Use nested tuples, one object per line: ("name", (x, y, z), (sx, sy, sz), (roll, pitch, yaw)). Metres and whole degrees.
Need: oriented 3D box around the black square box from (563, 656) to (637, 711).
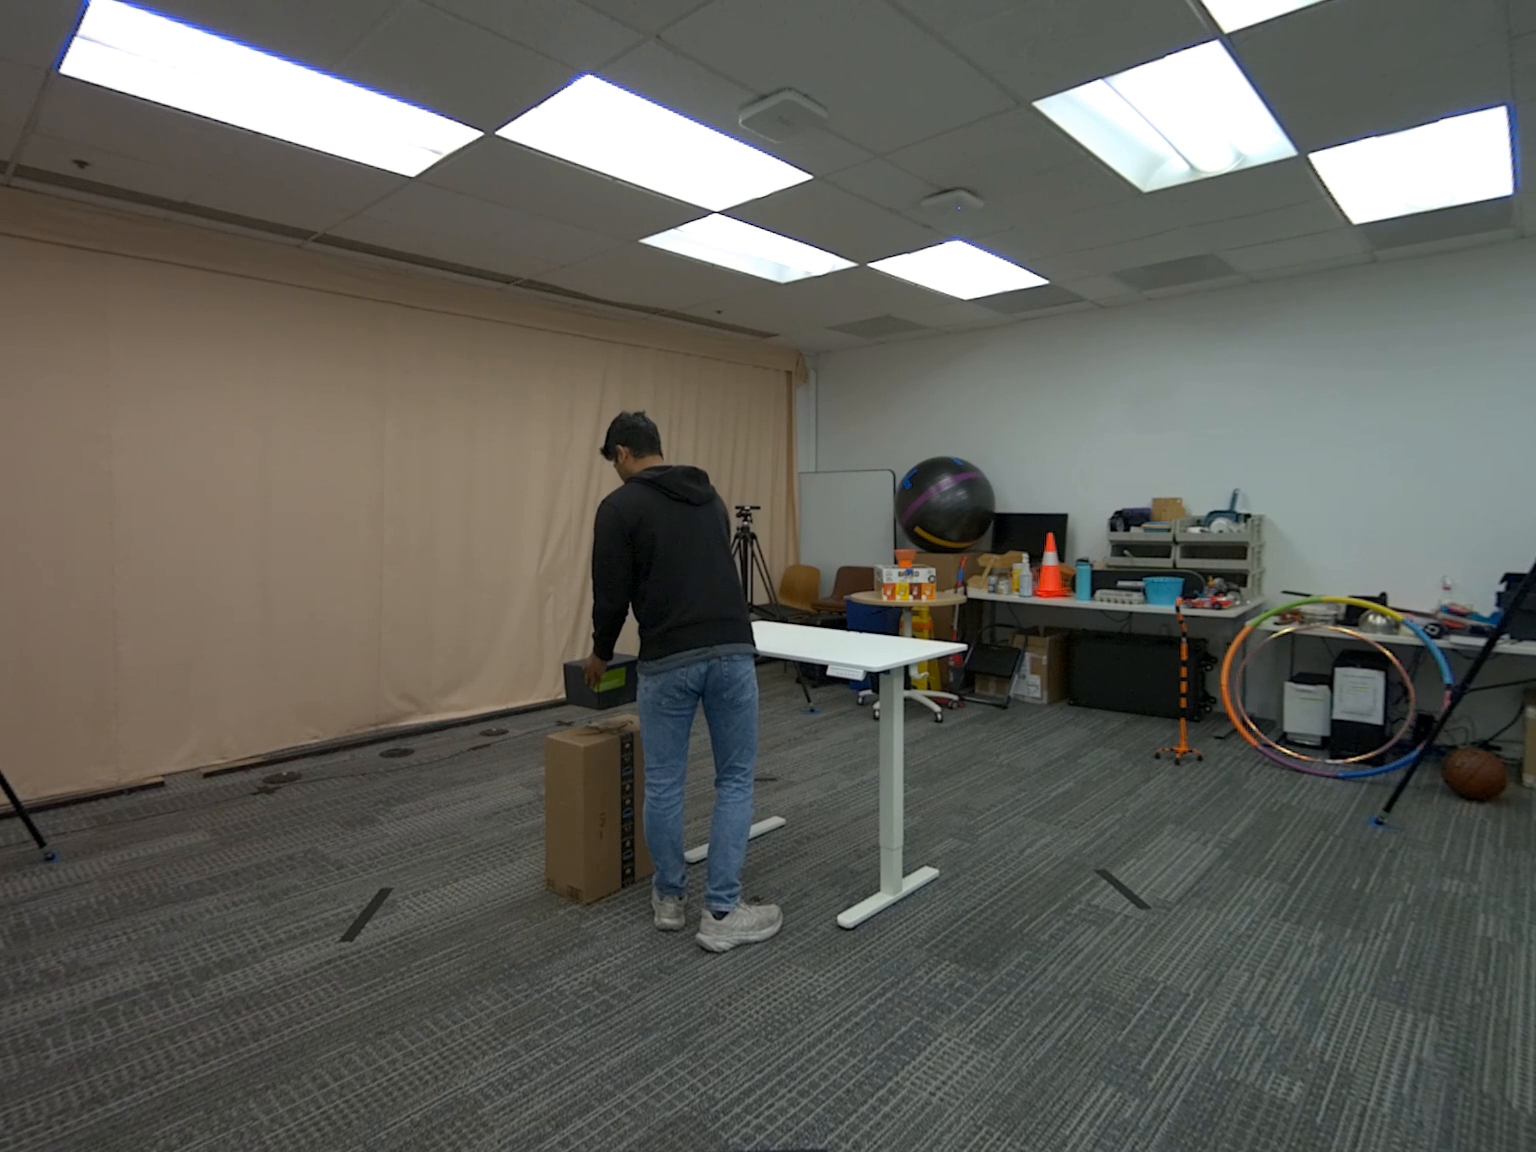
("black square box", (-0.601, 0.384, 3.143), (0.224, 0.155, 0.221), (1, 6, 44))
